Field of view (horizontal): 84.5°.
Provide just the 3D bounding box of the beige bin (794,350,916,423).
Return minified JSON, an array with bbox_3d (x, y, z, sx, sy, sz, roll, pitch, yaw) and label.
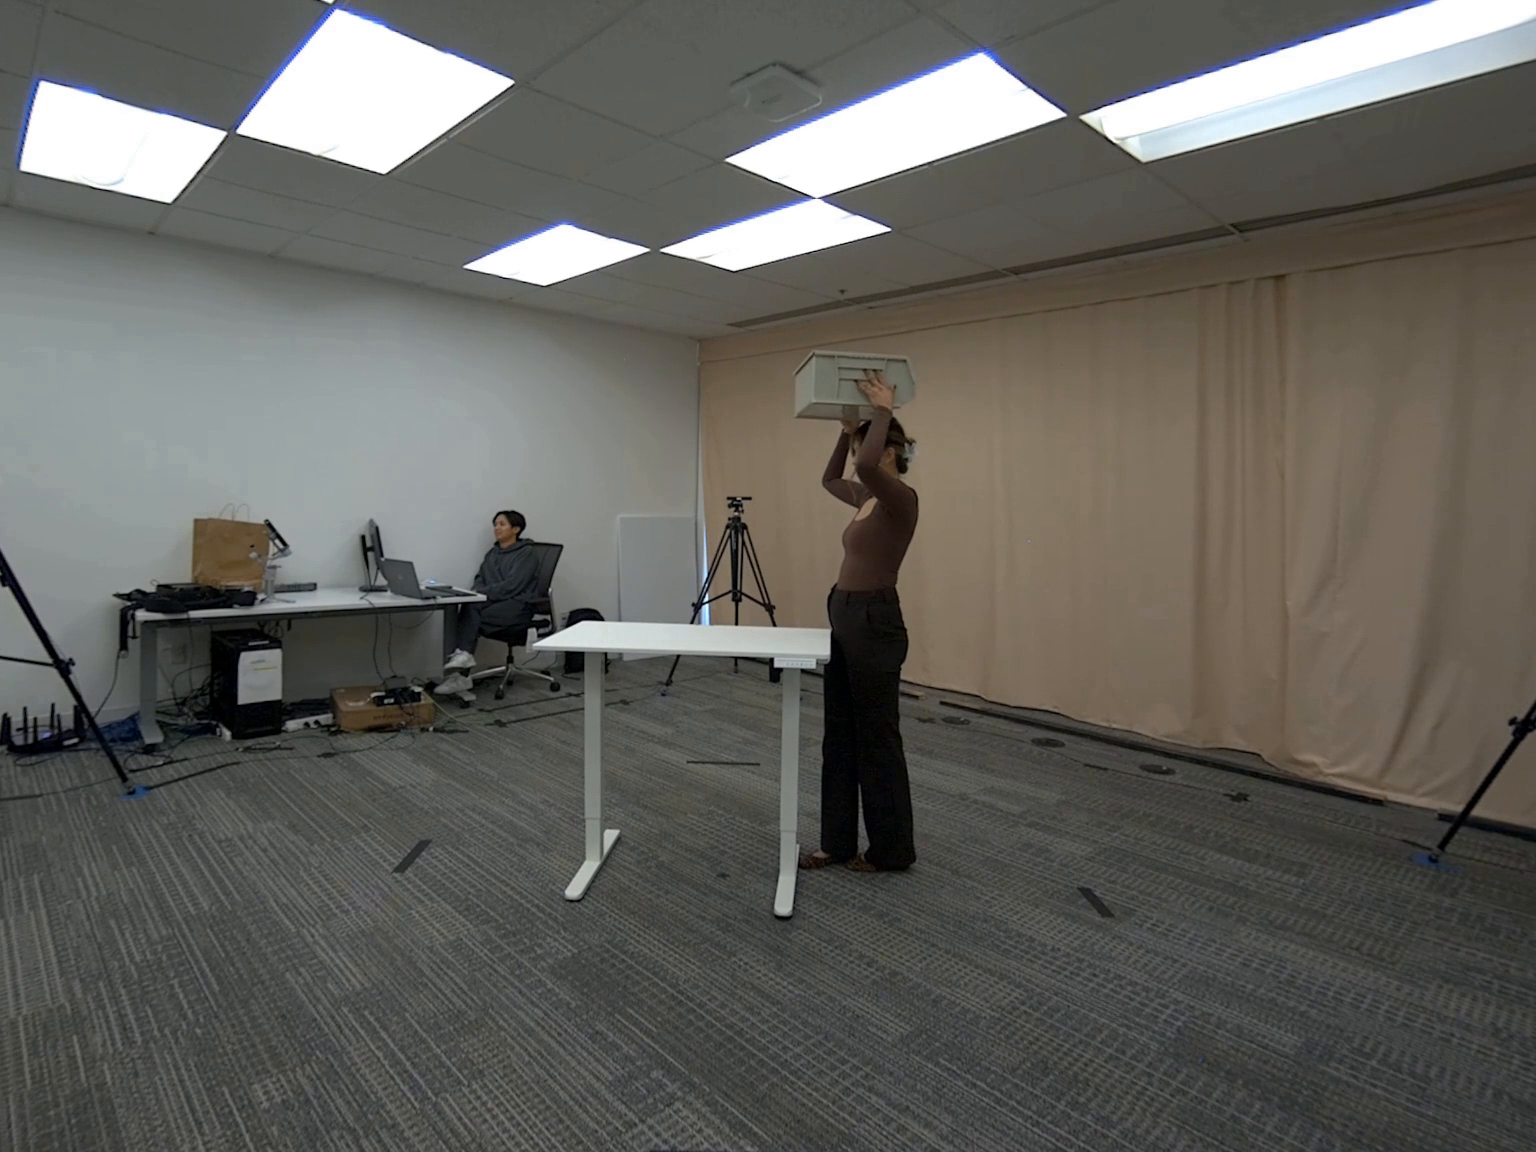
[{"bbox_3d":[0.304,-0.702,3.142,0.376,0.189,0.425,1,2,-6],"label":"beige bin"}]
